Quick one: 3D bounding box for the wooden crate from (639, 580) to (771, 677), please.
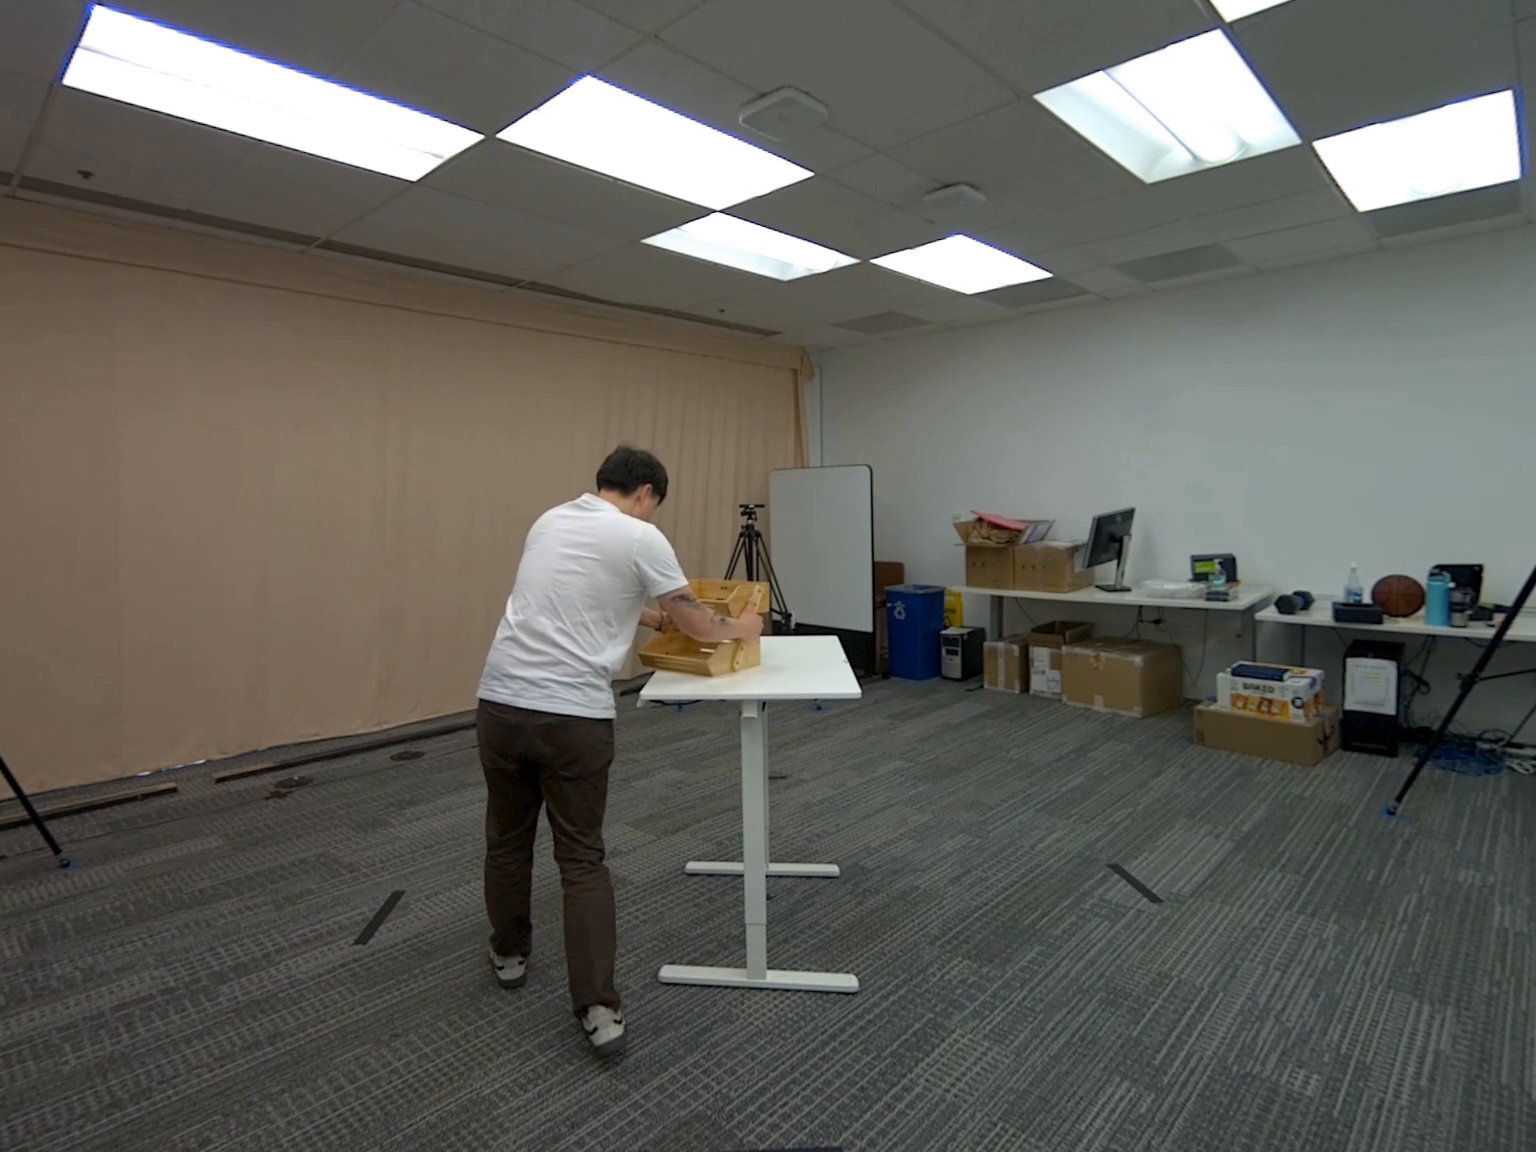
[{"bbox_3d":[-0.202,0.154,2.693,0.335,0.273,0.293,2,4,40],"label":"wooden crate"}]
